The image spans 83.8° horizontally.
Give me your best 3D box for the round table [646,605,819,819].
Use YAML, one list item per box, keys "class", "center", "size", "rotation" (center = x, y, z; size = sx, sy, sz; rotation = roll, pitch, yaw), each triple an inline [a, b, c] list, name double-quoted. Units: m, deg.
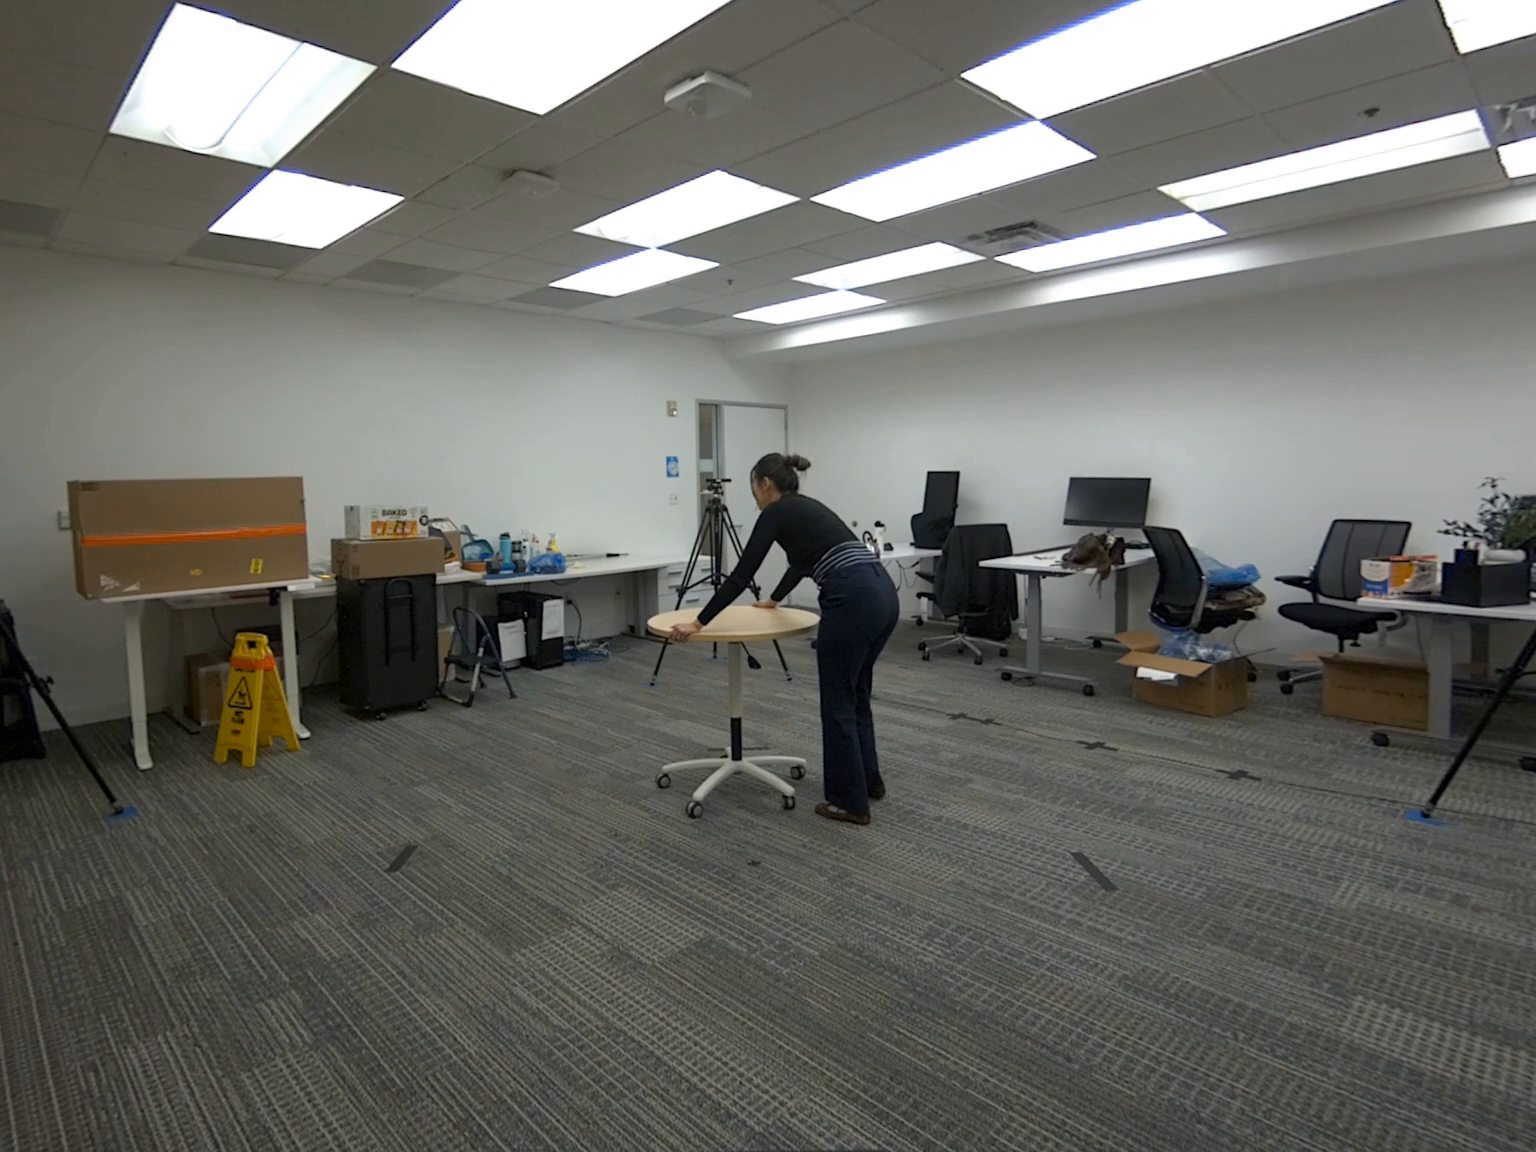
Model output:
- class: "round table"
  center: [-0.158, 0.581, 3.826]
  size: [0.763, 0.791, 0.768]
  rotation: [-1, 5, -2]
